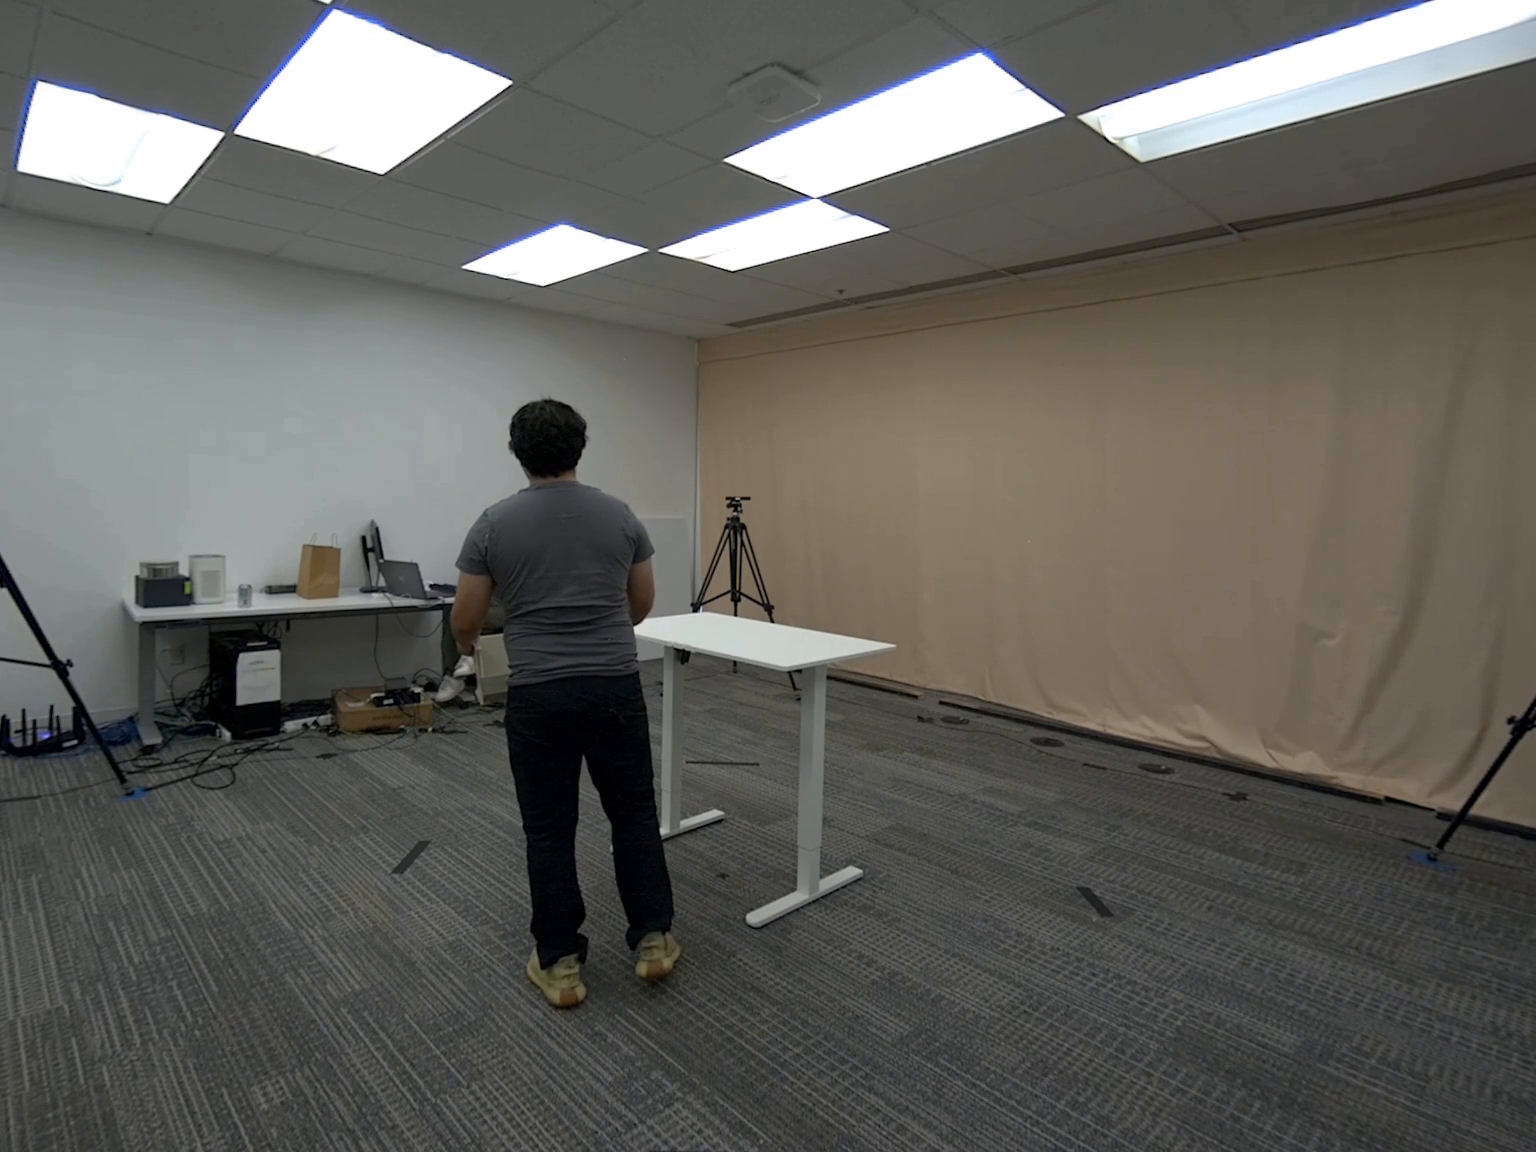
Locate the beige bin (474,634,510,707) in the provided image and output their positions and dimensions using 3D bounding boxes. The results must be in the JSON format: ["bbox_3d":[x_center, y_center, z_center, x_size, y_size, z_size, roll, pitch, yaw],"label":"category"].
[{"bbox_3d":[-0.721,0.278,2.673,0.416,0.189,0.383,-6,3,-21],"label":"beige bin"}]
